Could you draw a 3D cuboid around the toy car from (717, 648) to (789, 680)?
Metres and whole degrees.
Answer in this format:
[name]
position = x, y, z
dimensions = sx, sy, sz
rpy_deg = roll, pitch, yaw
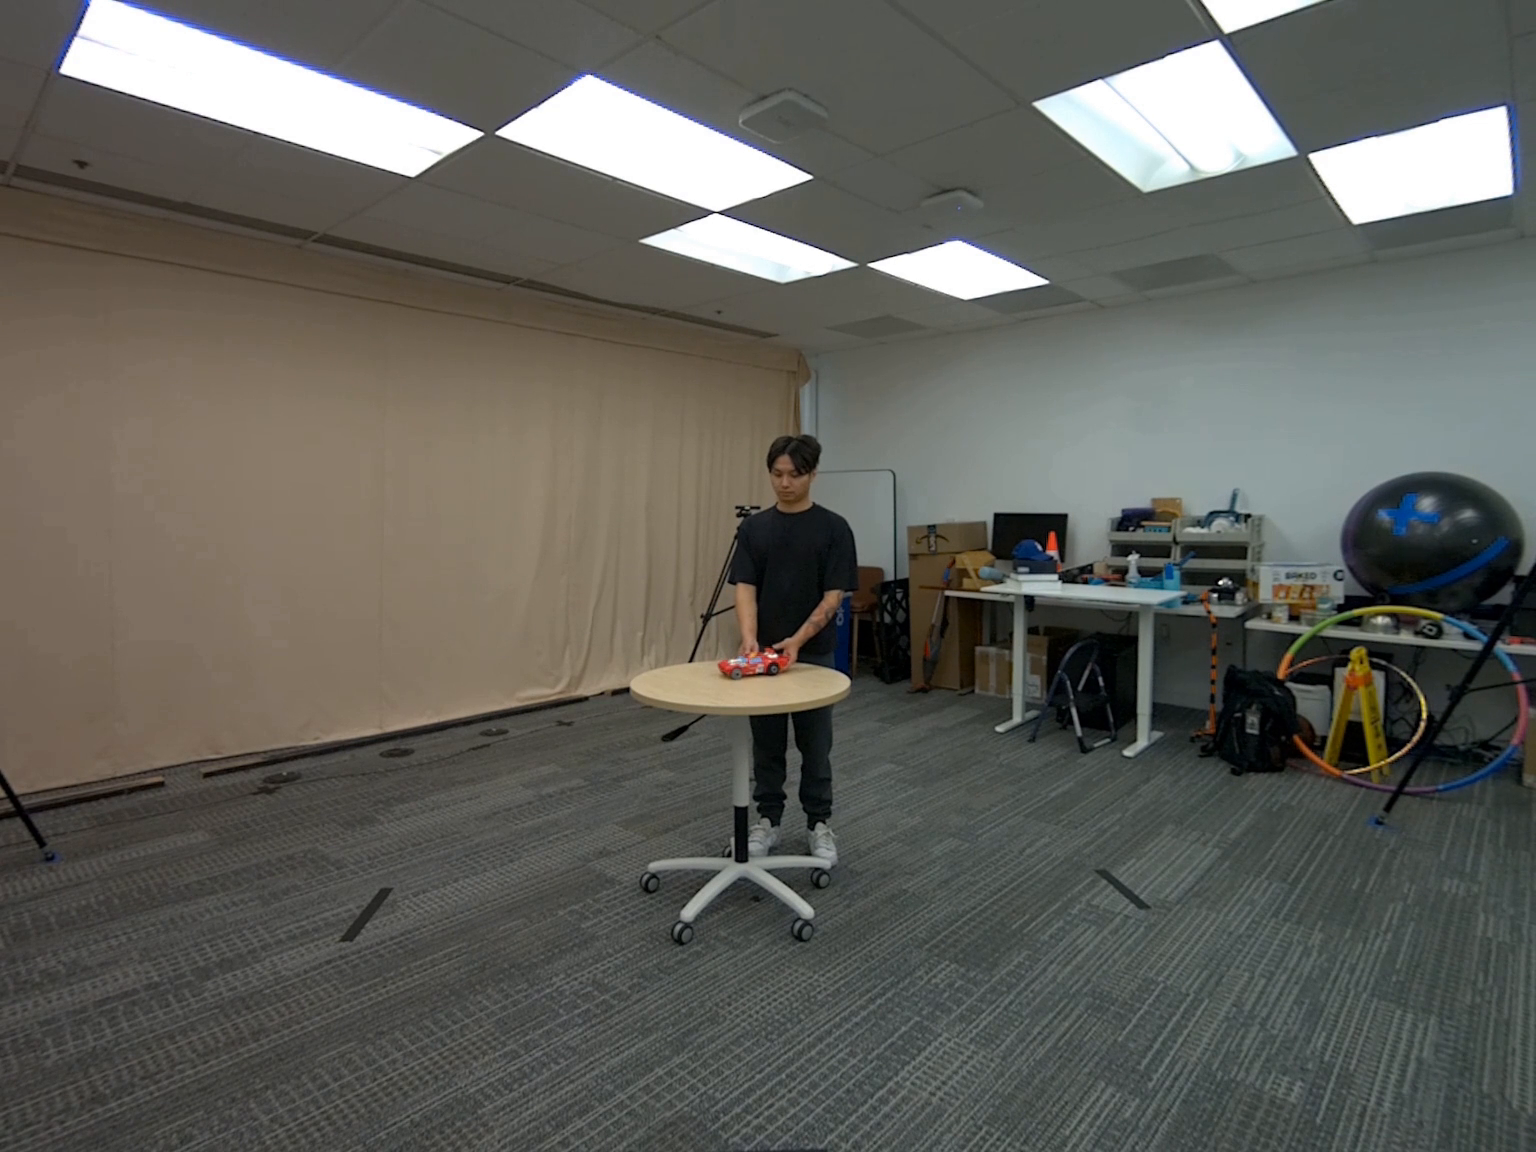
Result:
[toy car]
position = -0.046, 0.320, 3.034
dimensions = 0.250, 0.082, 0.134
rpy_deg = -14, 11, -22
